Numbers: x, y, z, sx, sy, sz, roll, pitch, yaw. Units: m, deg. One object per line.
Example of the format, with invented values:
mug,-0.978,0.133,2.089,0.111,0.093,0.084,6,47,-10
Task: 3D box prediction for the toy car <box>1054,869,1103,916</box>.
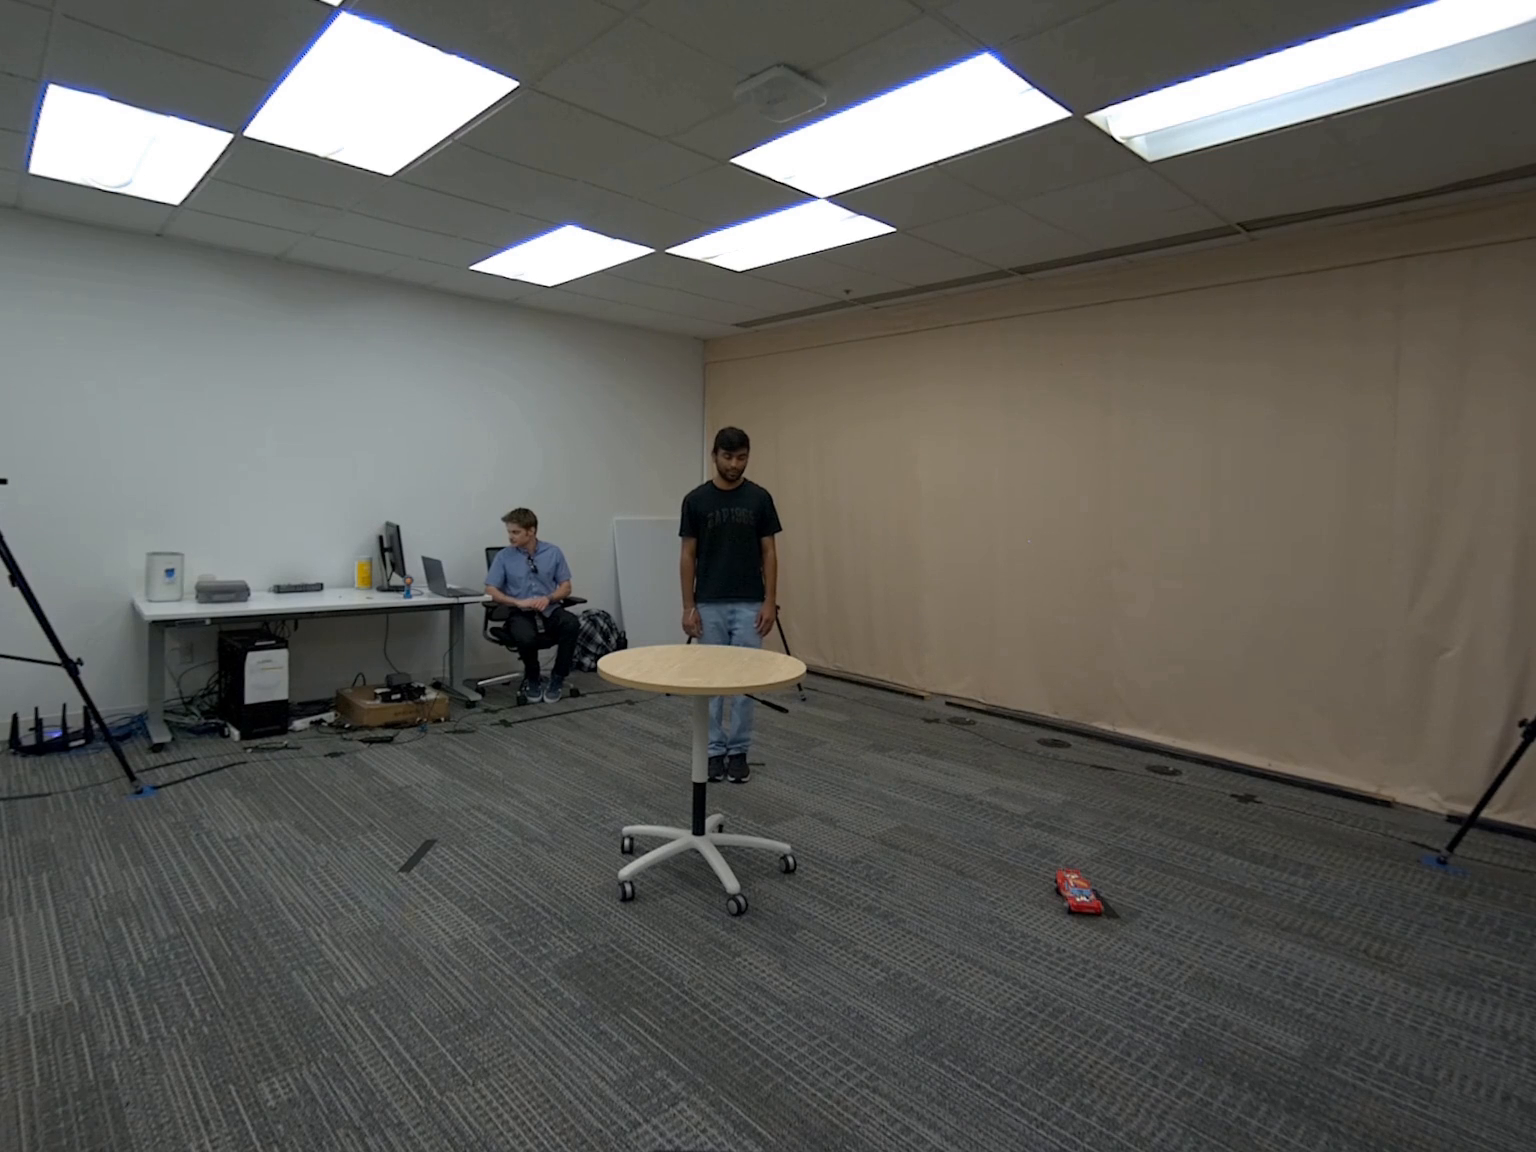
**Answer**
toy car,1.084,1.119,2.984,0.131,0.082,0.256,1,15,7
